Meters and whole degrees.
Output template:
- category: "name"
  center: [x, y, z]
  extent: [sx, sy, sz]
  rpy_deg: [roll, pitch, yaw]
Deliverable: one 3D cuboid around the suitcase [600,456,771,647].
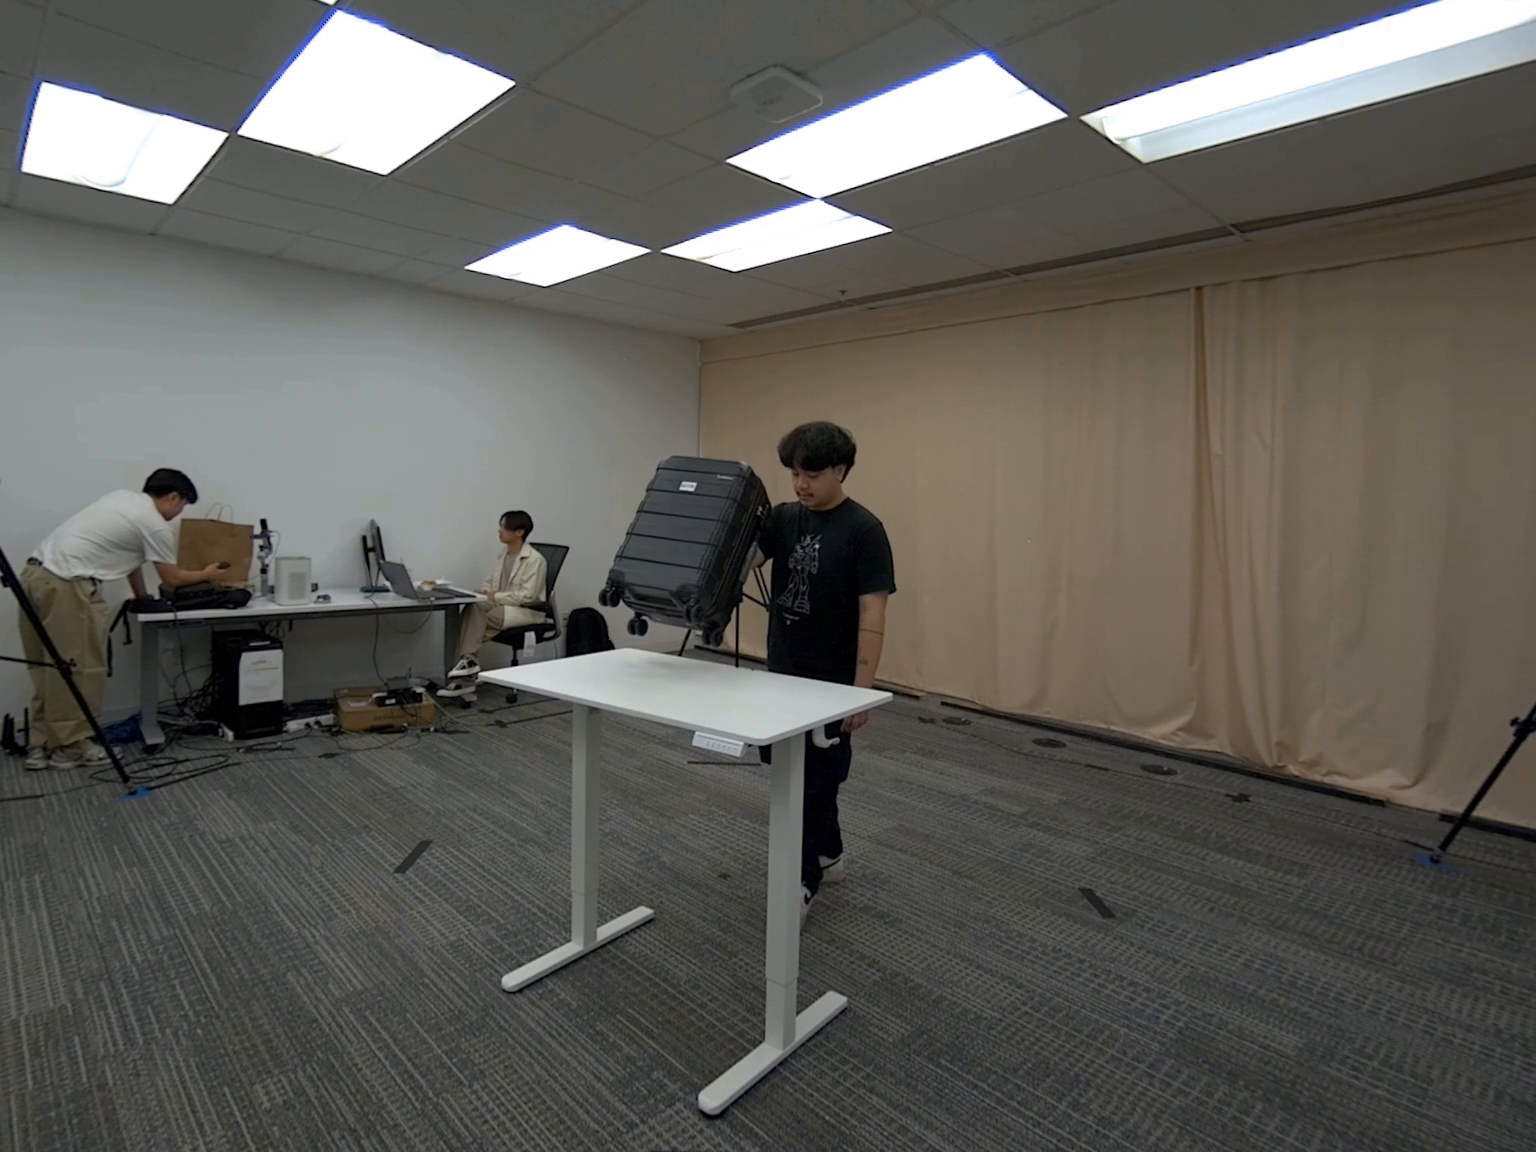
- category: "suitcase"
  center: [-0.245, -0.092, 2.556]
  extent: [0.383, 0.555, 0.241]
  rpy_deg: [6, -28, 26]
